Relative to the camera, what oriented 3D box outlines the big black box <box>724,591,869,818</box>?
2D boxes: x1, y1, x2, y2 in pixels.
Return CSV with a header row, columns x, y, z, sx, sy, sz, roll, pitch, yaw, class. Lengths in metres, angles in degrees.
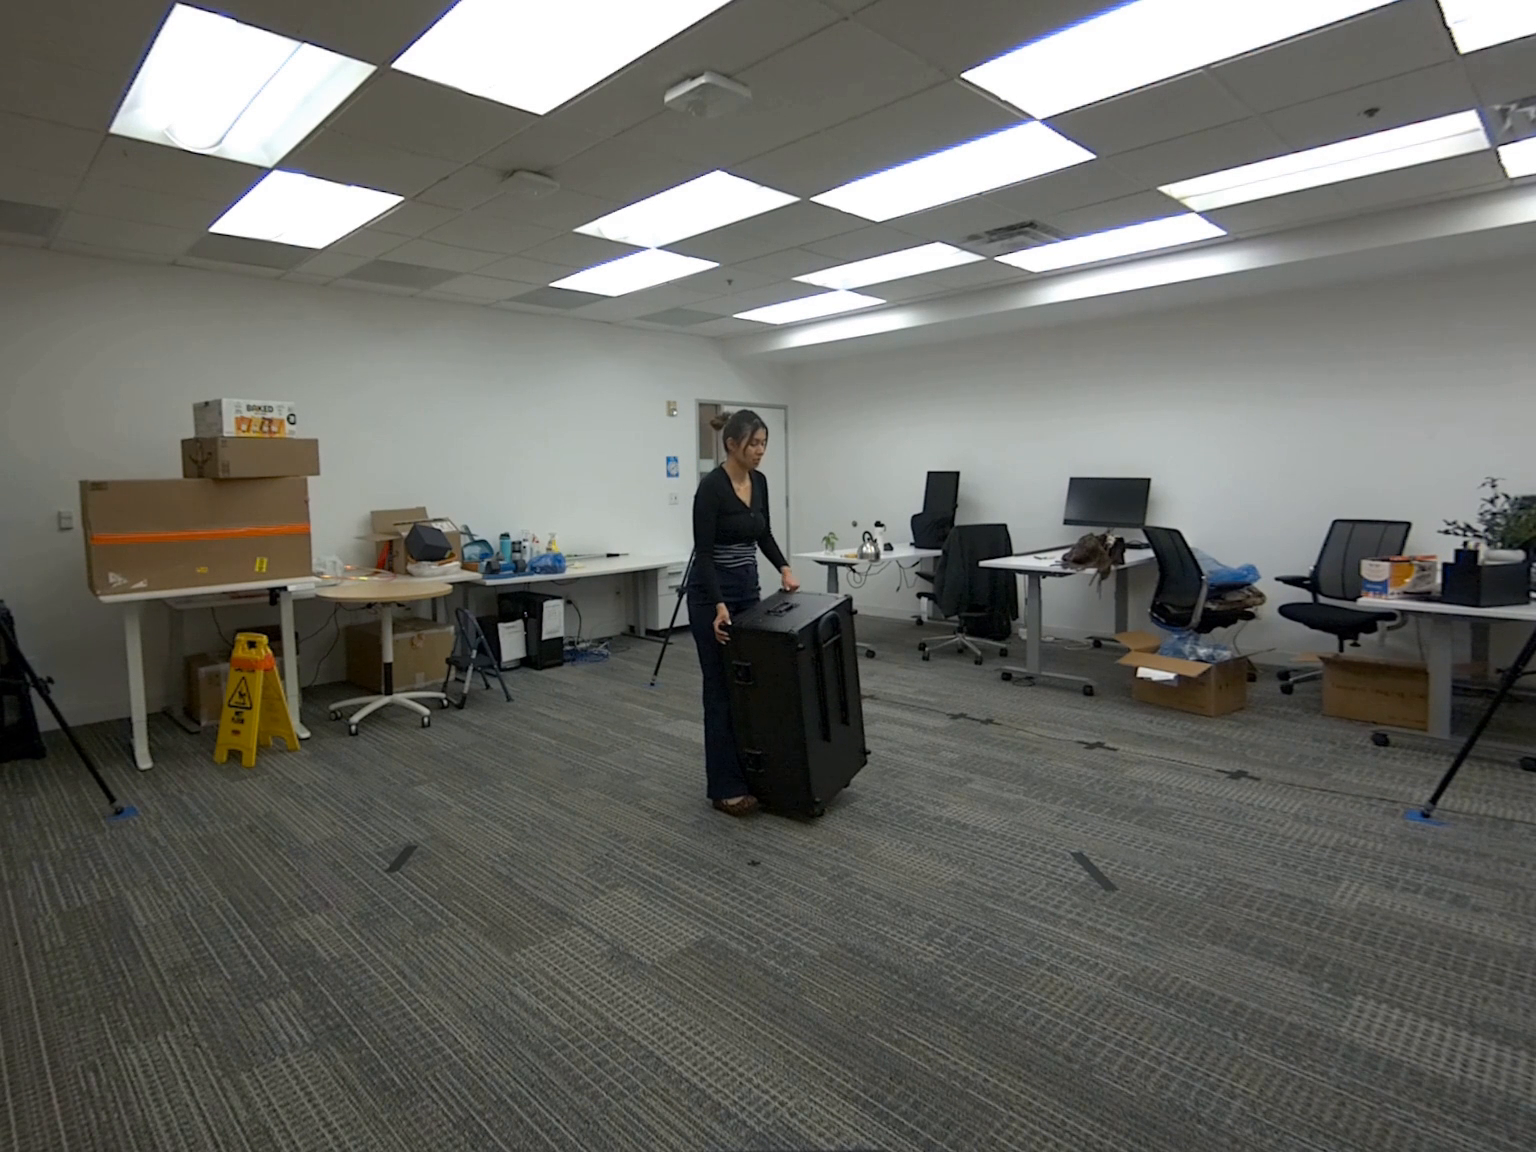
x,y,z,sx,sy,sz,roll,pitch,yaw,class
0.145,0.541,3.604,0.408,0.849,0.513,4,18,36,big black box
